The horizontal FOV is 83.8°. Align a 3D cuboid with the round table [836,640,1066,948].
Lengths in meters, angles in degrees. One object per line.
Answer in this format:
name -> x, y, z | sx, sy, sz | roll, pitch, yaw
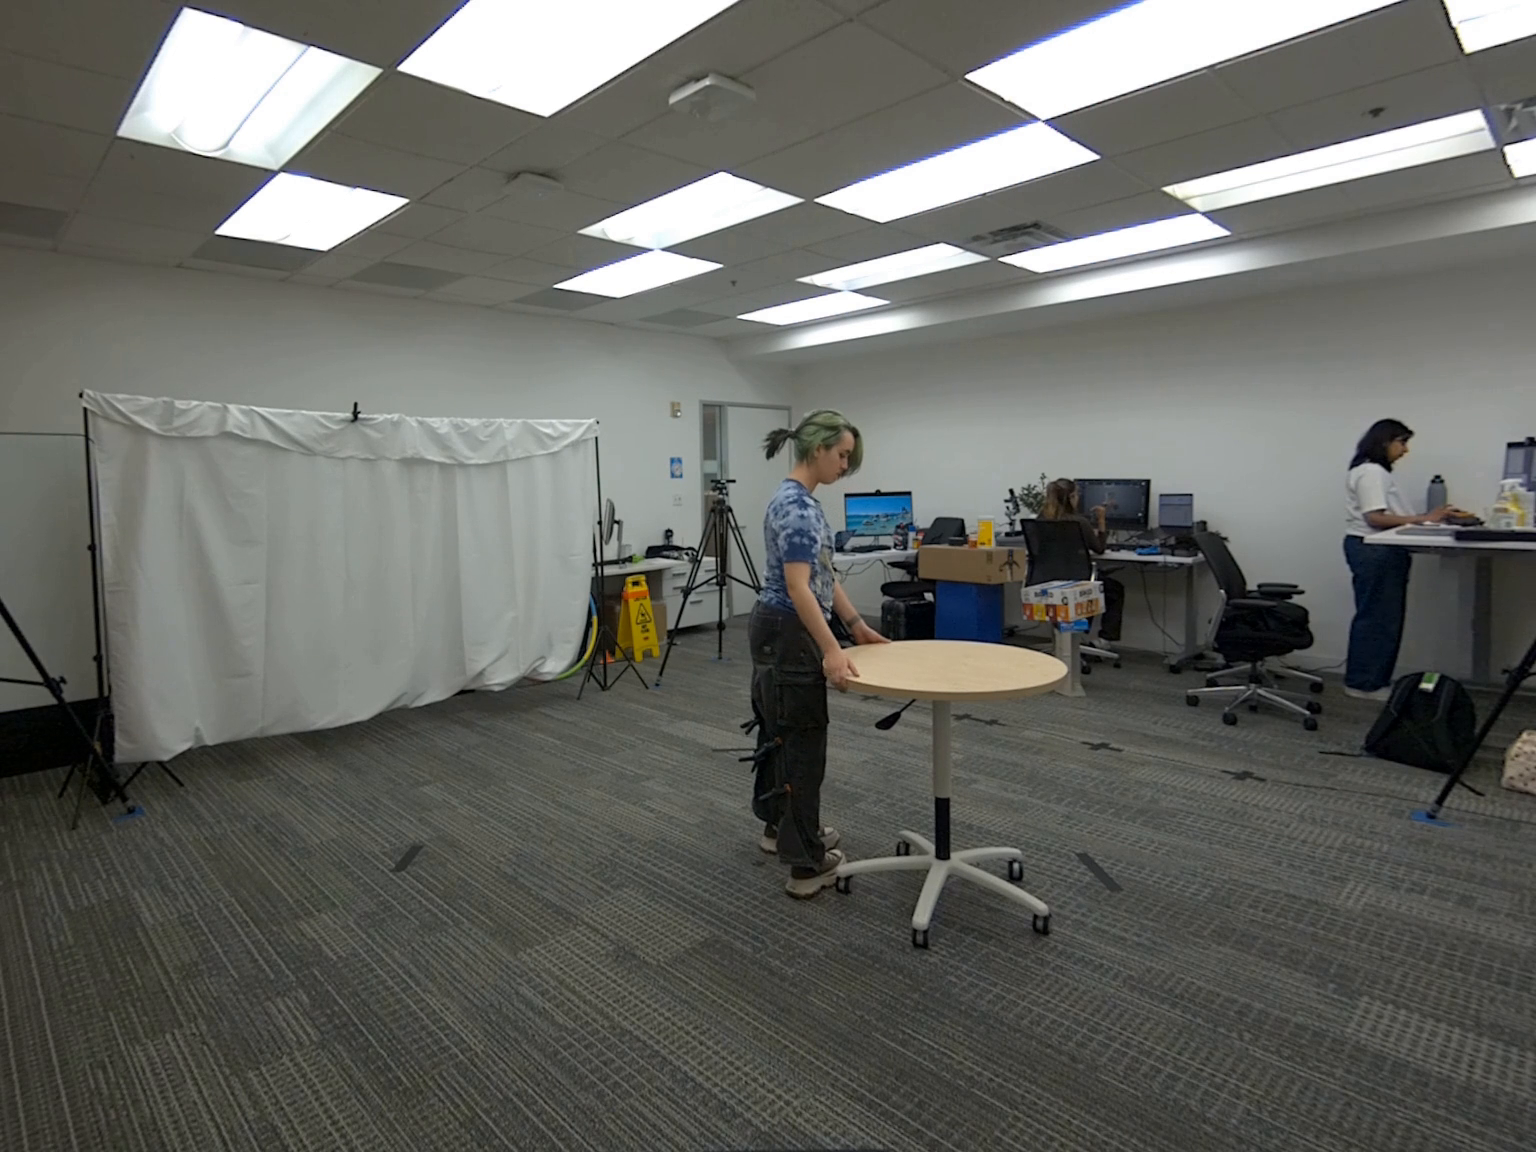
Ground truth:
round table -> 0.578, 0.682, 2.786 | 0.763, 0.790, 0.768 | -1, 6, -2
